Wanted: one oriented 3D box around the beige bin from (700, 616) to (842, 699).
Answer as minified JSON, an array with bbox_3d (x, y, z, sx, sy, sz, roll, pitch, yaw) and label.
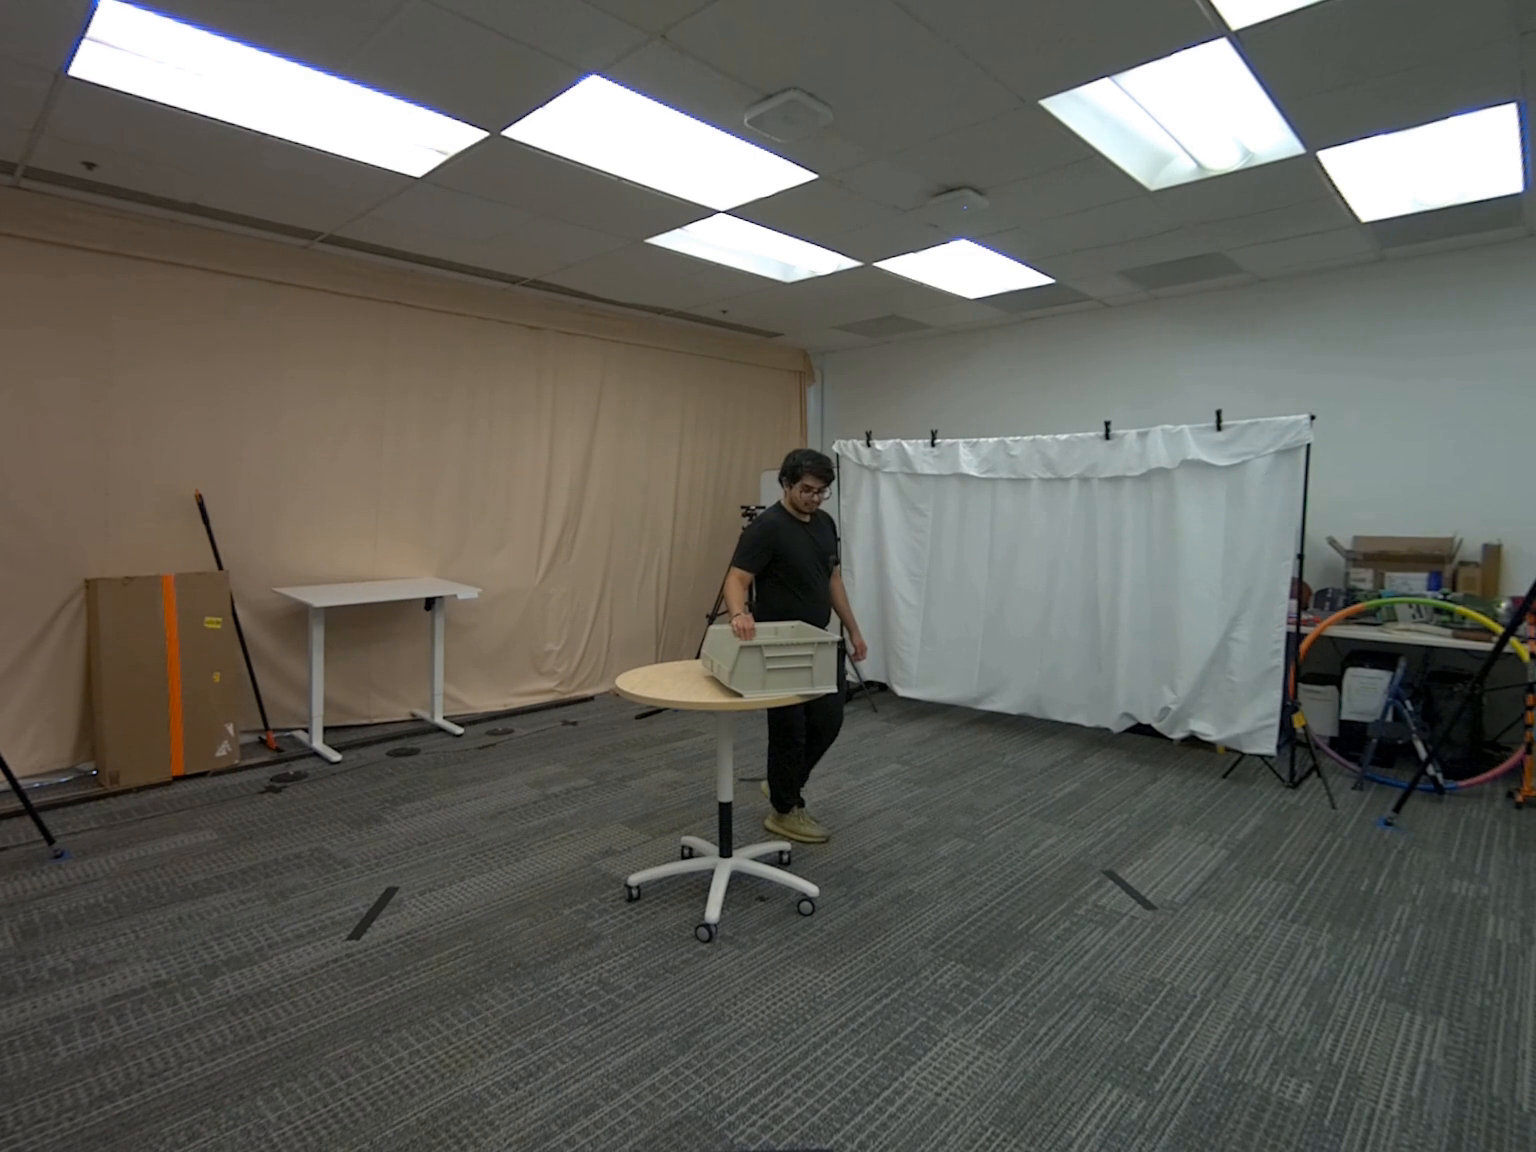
[{"bbox_3d":[-0.010,0.273,2.869,0.372,0.189,0.429,0,3,-14],"label":"beige bin"}]
